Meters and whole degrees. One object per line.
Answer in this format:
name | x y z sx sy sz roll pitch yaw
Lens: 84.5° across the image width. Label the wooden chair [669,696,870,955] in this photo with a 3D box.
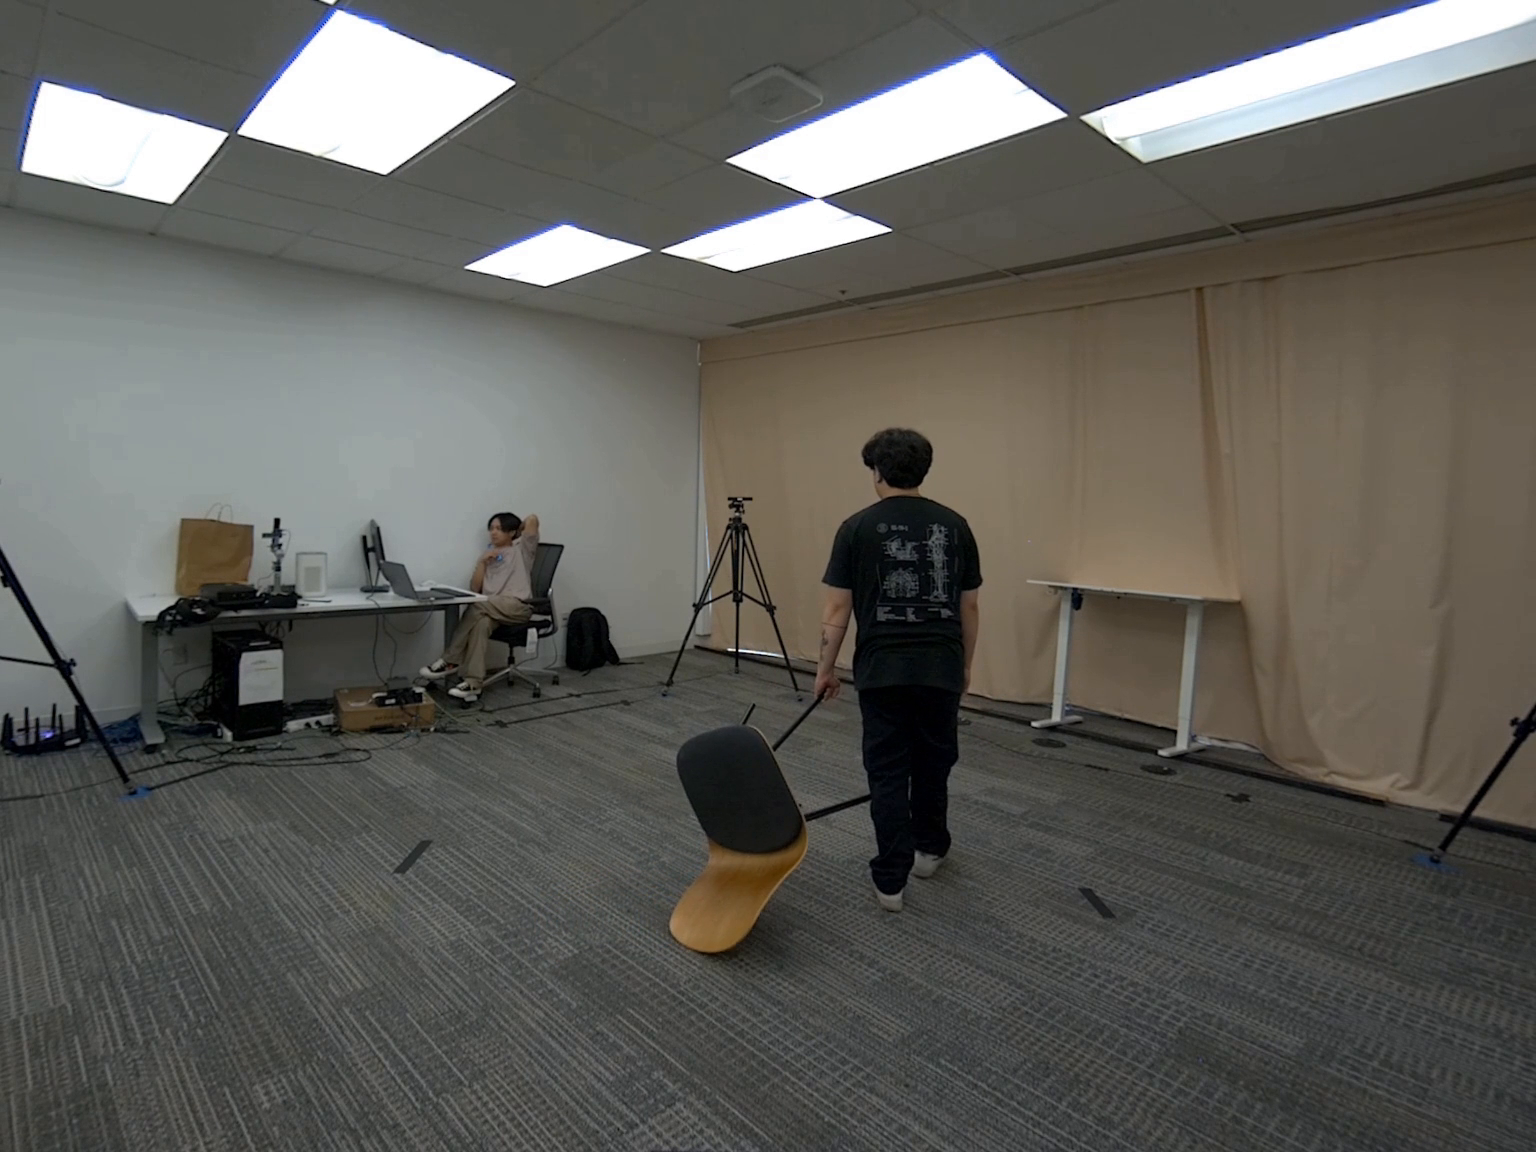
wooden chair | -0.060 0.759 2.855 0.484 0.521 0.869 -24 5 40
